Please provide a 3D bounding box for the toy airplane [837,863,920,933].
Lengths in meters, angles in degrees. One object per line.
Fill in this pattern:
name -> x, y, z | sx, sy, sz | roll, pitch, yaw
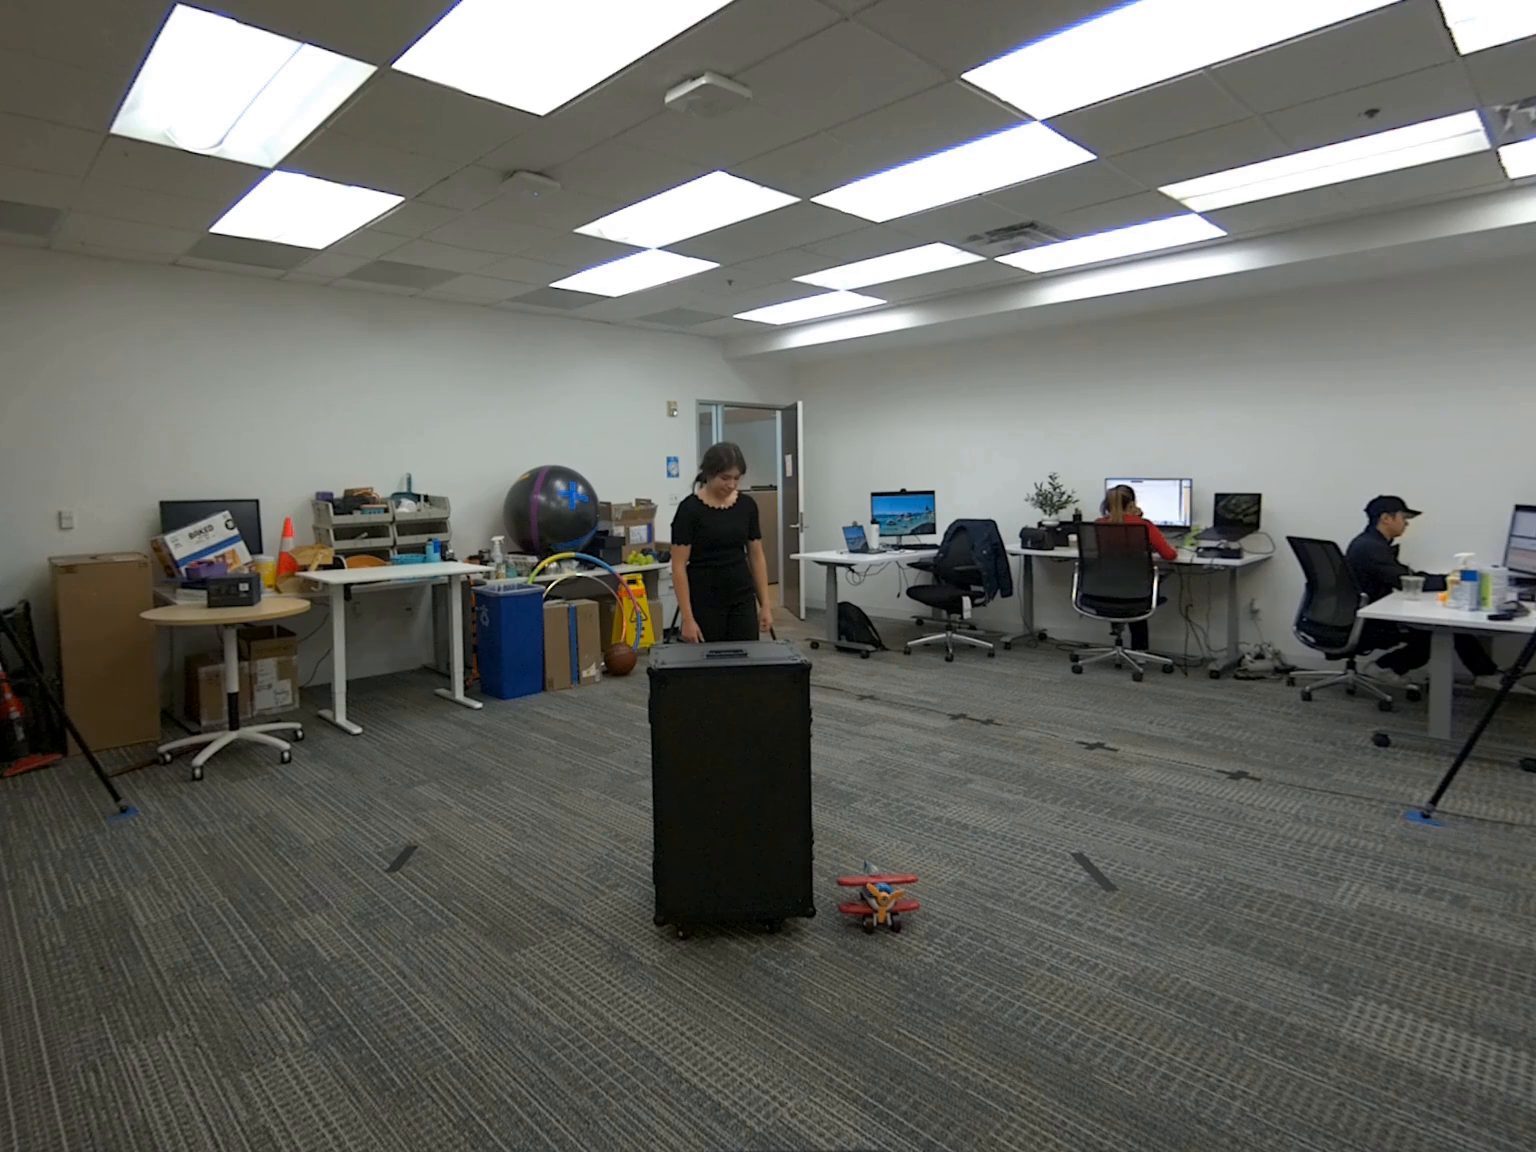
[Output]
toy airplane -> 0.321, 1.007, 2.702 | 0.245, 0.155, 0.267 | -5, 8, -32
